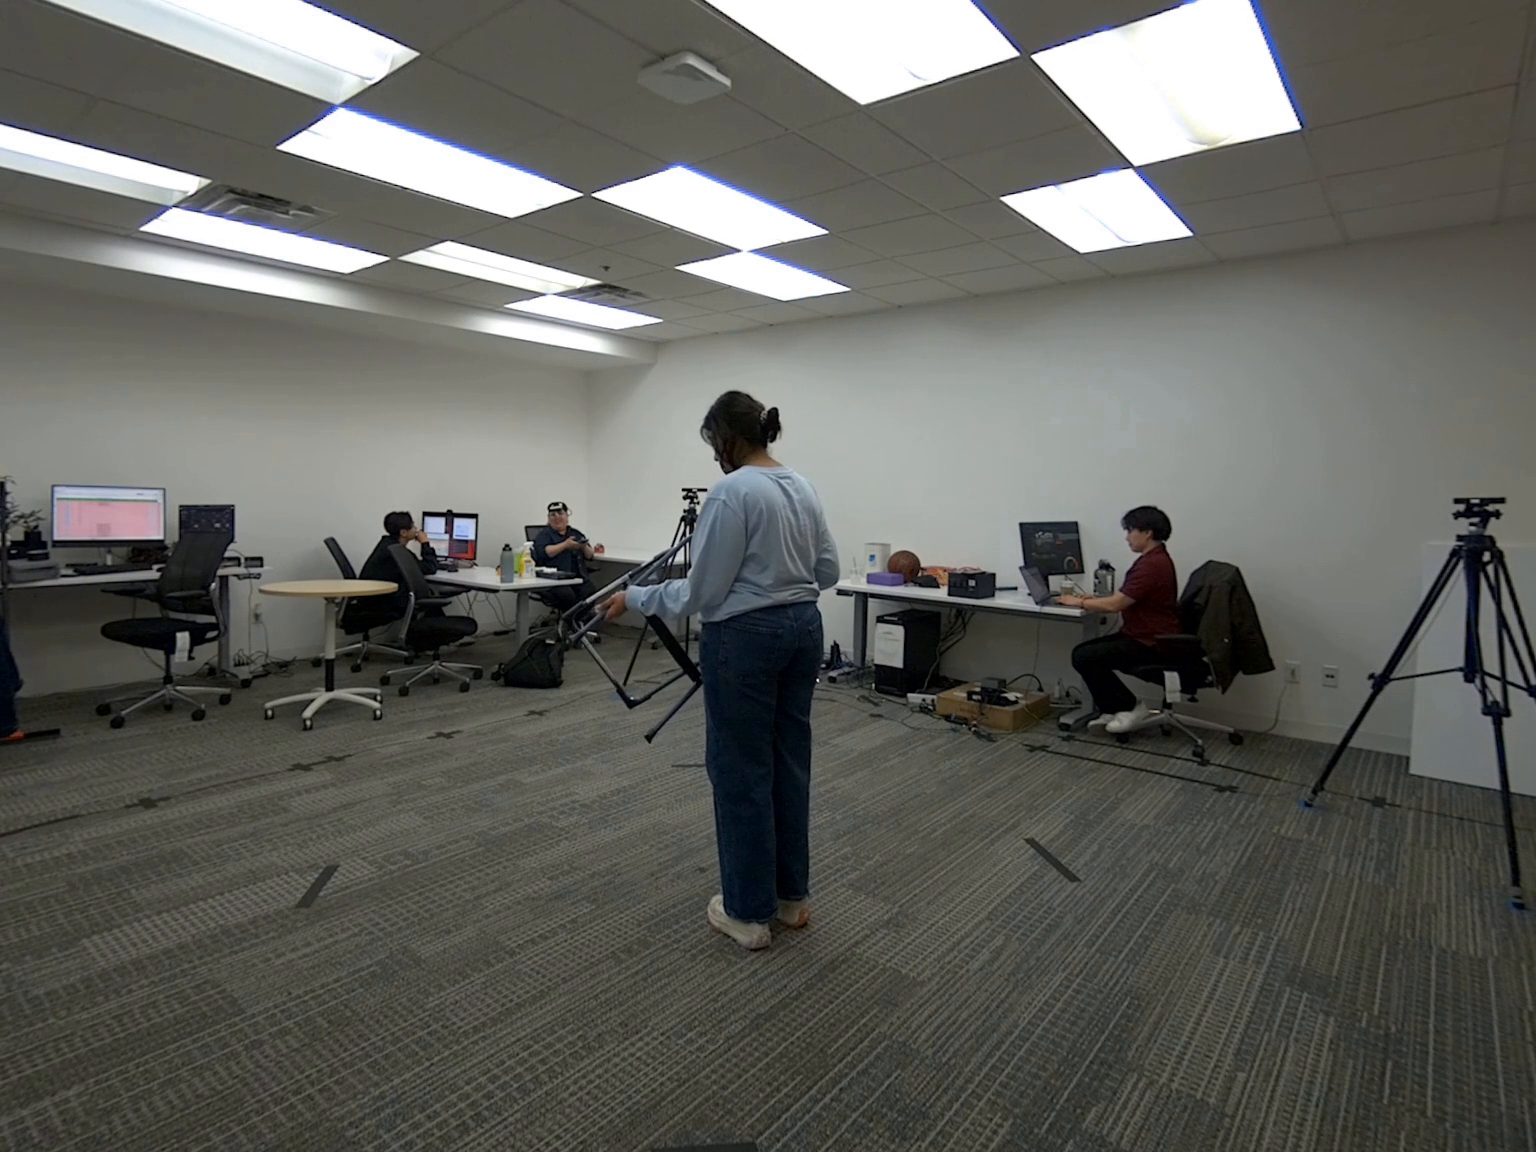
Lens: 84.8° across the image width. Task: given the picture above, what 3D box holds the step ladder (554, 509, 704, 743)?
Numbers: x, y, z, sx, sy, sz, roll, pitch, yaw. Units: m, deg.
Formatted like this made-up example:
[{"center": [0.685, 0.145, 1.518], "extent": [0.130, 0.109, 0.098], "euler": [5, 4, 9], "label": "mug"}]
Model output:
[{"center": [-0.317, 0.143, 2.800], "extent": [0.604, 0.421, 0.358], "euler": [-36, 18, -11], "label": "step ladder"}]
